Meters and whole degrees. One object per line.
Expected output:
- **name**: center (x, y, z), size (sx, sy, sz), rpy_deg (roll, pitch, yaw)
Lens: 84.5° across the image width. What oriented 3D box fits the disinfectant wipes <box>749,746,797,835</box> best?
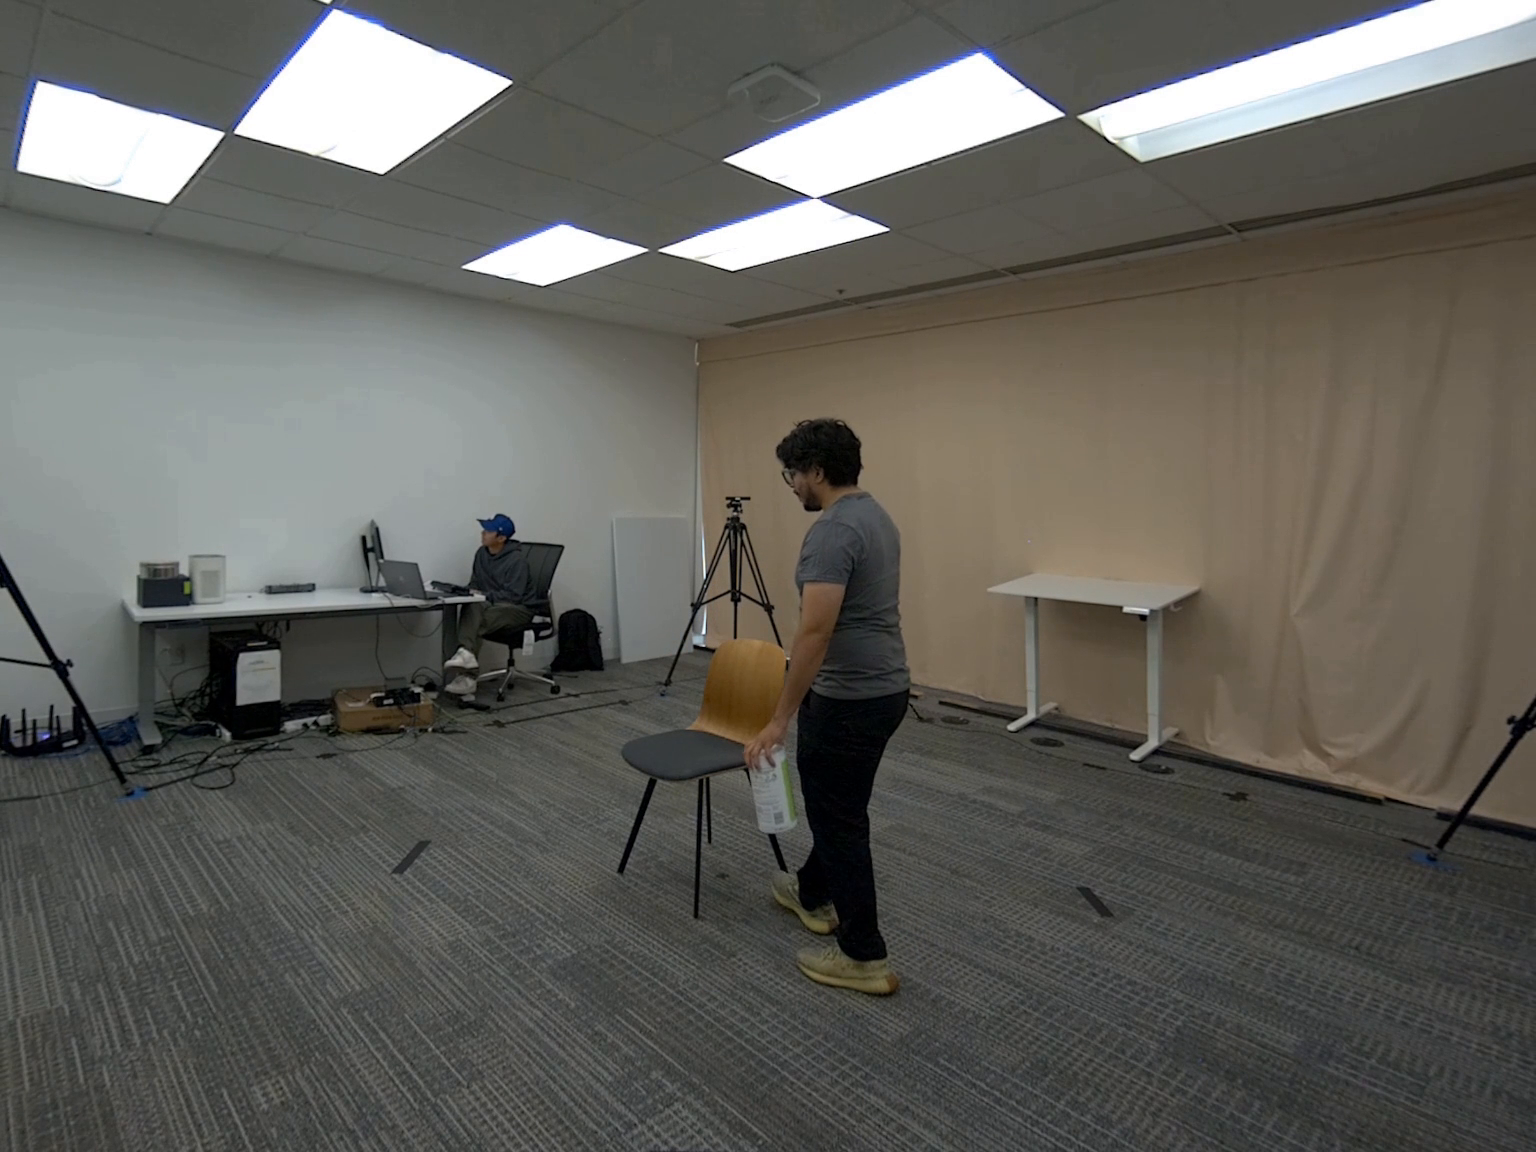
- **disinfectant wipes**: center (0.008, 0.578, 2.296), size (0.118, 0.217, 0.118), rpy_deg (-9, 4, -1)
